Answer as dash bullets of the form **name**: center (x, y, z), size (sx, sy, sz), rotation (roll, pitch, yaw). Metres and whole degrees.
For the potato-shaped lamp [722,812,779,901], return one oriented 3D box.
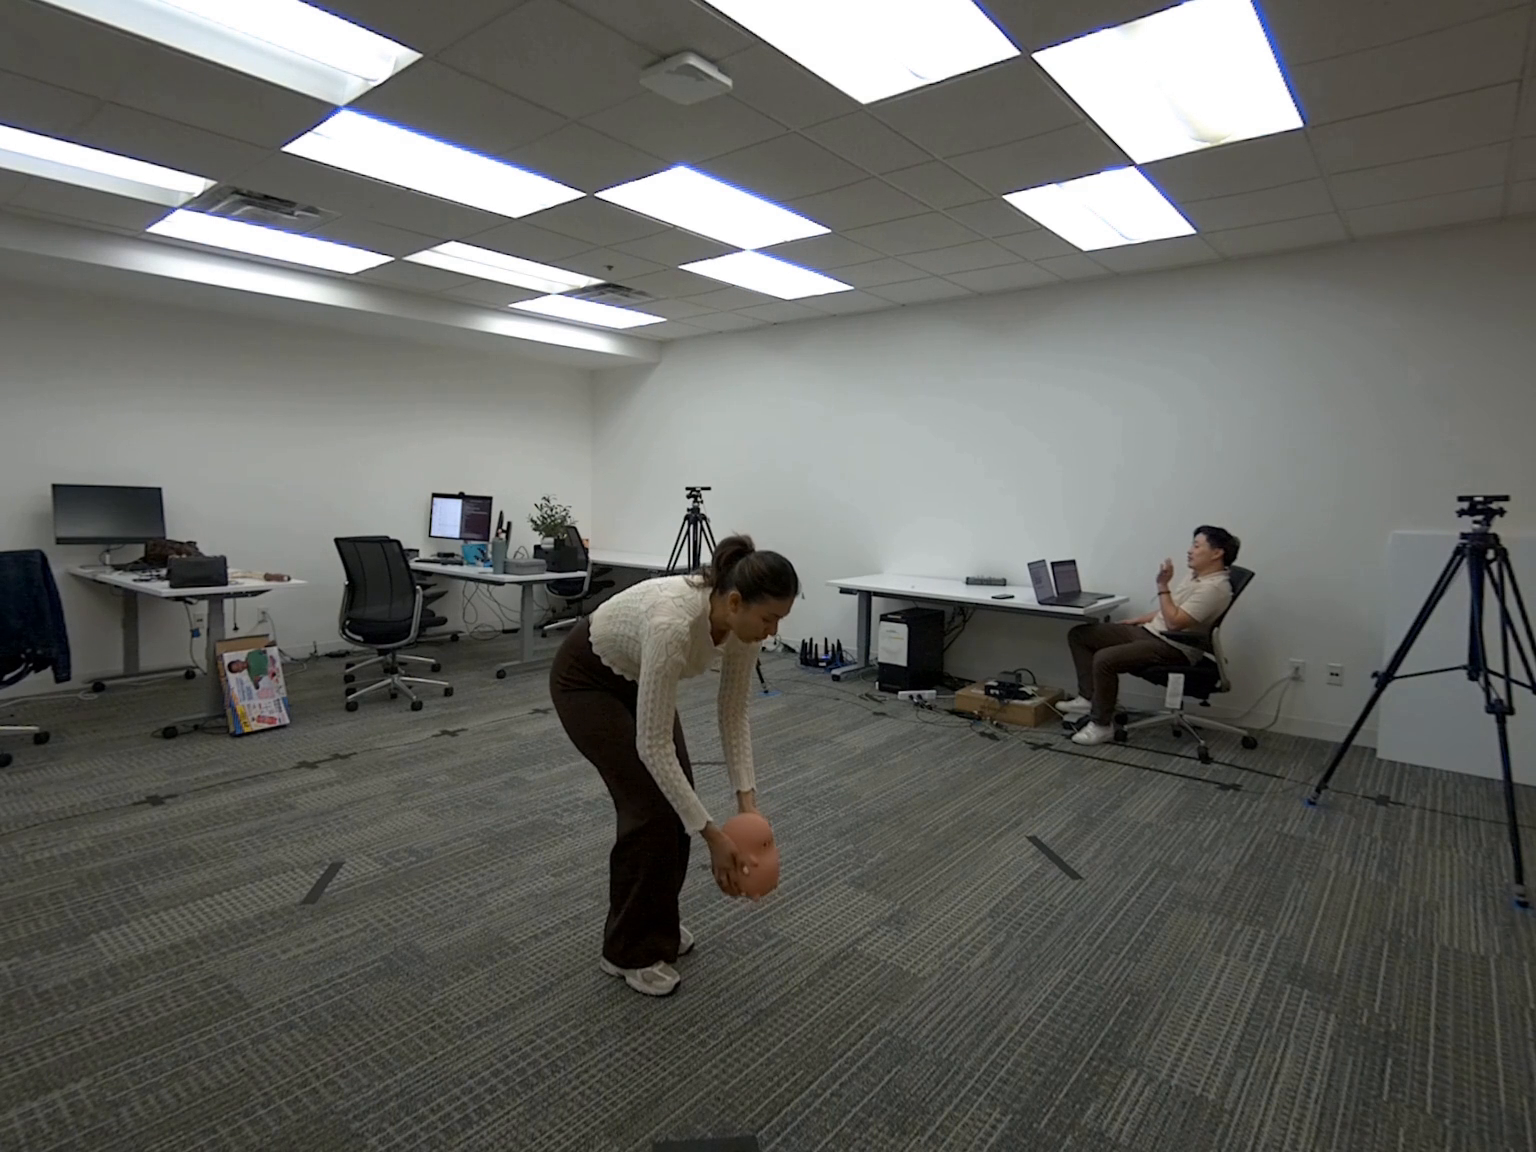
- **potato-shaped lamp**: center (-0.063, 0.721, 2.237), size (0.177, 0.198, 0.160), rotation (5, 2, 33)
